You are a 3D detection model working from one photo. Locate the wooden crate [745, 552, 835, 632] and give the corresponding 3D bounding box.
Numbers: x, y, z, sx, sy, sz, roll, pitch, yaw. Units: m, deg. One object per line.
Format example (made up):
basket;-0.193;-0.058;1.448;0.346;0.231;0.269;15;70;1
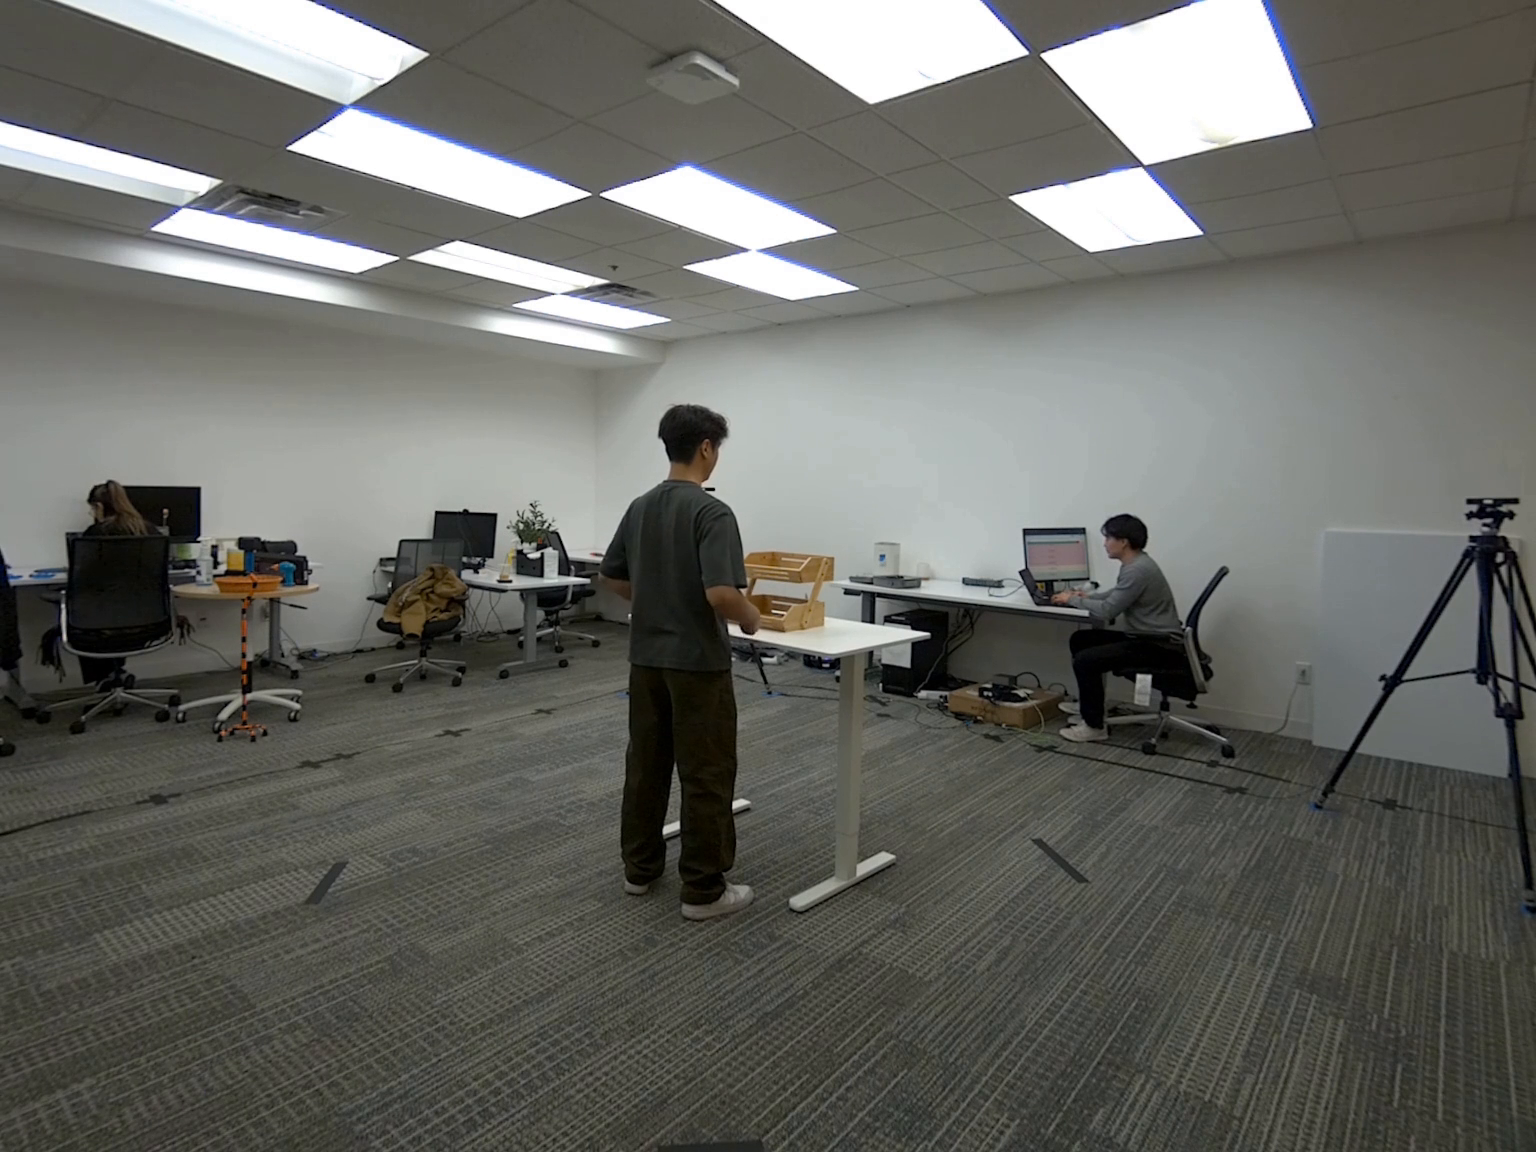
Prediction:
wooden crate;0.025;0.044;3.224;0.335;0.272;0.293;6;6;41
